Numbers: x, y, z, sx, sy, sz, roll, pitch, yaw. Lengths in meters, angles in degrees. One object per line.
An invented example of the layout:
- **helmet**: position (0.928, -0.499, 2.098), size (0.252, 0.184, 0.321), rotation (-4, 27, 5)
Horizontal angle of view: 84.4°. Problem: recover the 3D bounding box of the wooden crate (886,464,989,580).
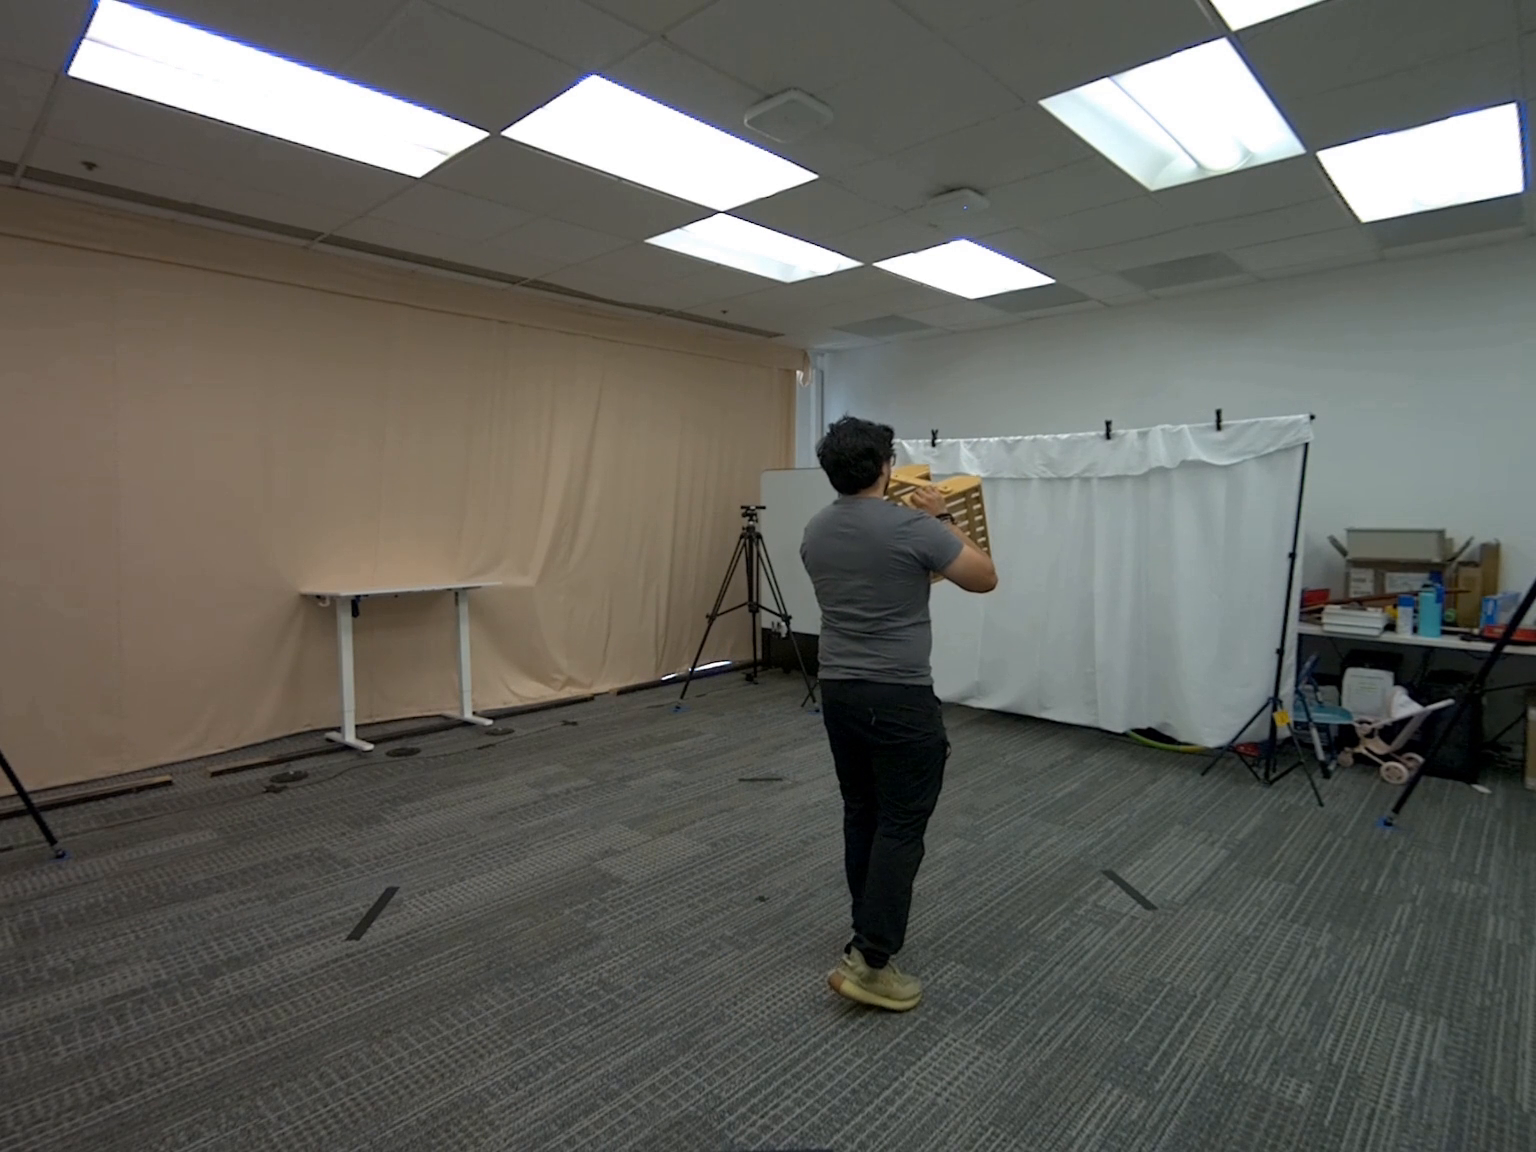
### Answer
- **wooden crate**: position (0.544, -0.190, 2.776), size (0.301, 0.316, 0.281), rotation (-21, 33, -5)
